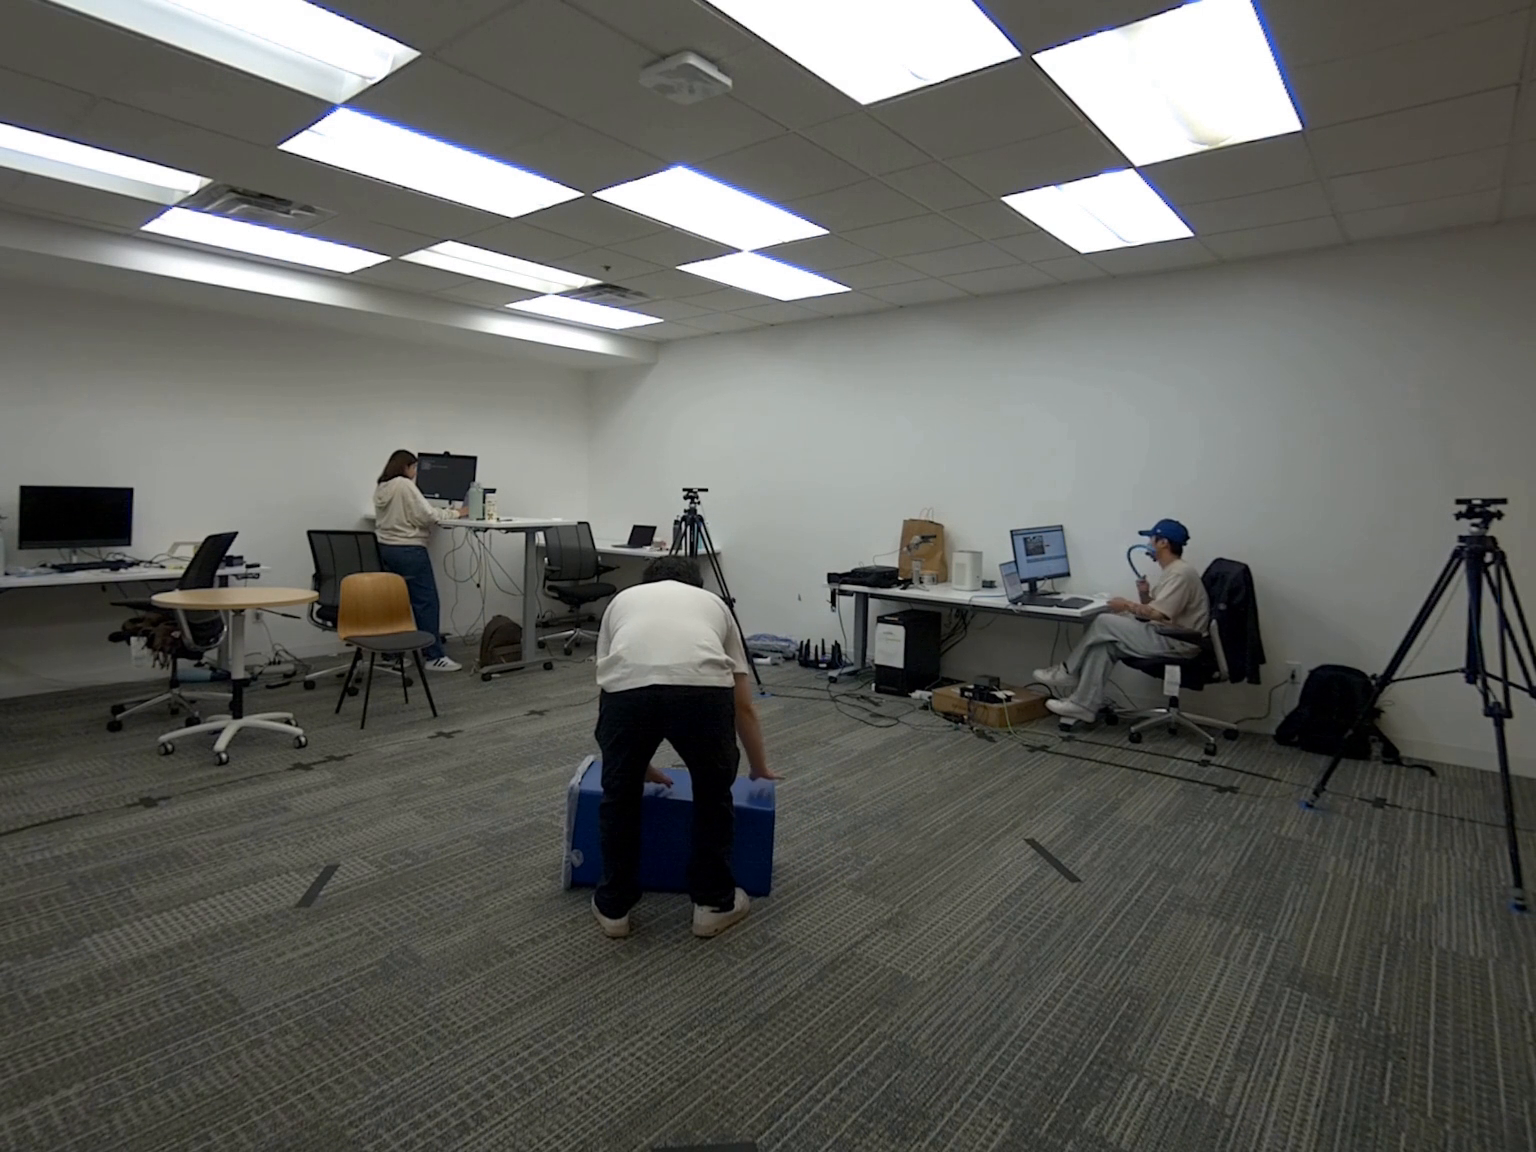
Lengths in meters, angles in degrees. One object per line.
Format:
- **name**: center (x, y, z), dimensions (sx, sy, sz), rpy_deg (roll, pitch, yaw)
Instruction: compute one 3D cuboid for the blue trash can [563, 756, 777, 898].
- **blue trash can**: center (-0.352, 0.902, 3.068), dimensions (0.716, 0.377, 0.374), rpy_deg (4, 4, 2)
